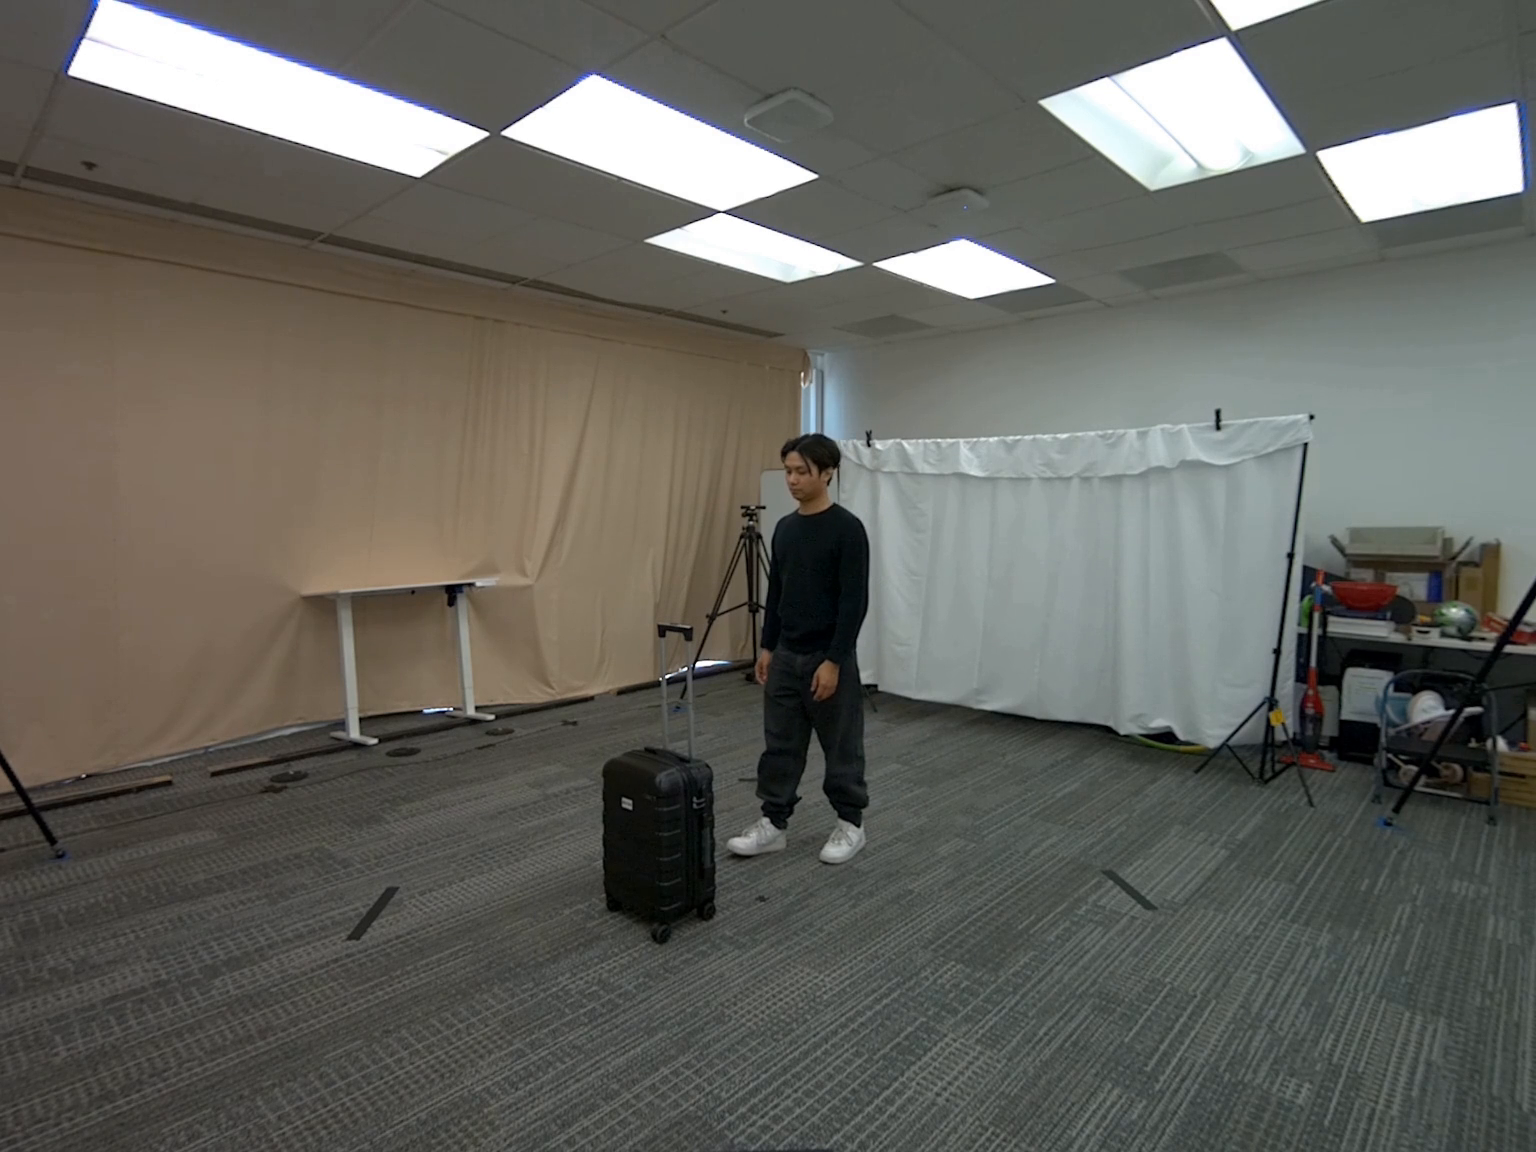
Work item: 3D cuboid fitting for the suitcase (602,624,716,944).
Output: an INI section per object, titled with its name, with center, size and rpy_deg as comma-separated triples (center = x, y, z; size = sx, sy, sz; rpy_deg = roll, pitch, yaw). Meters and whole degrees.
[suitcase]
center = -0.379, 0.676, 2.857
size = 0.396, 0.976, 0.249
rpy_deg = 1, 5, 42
